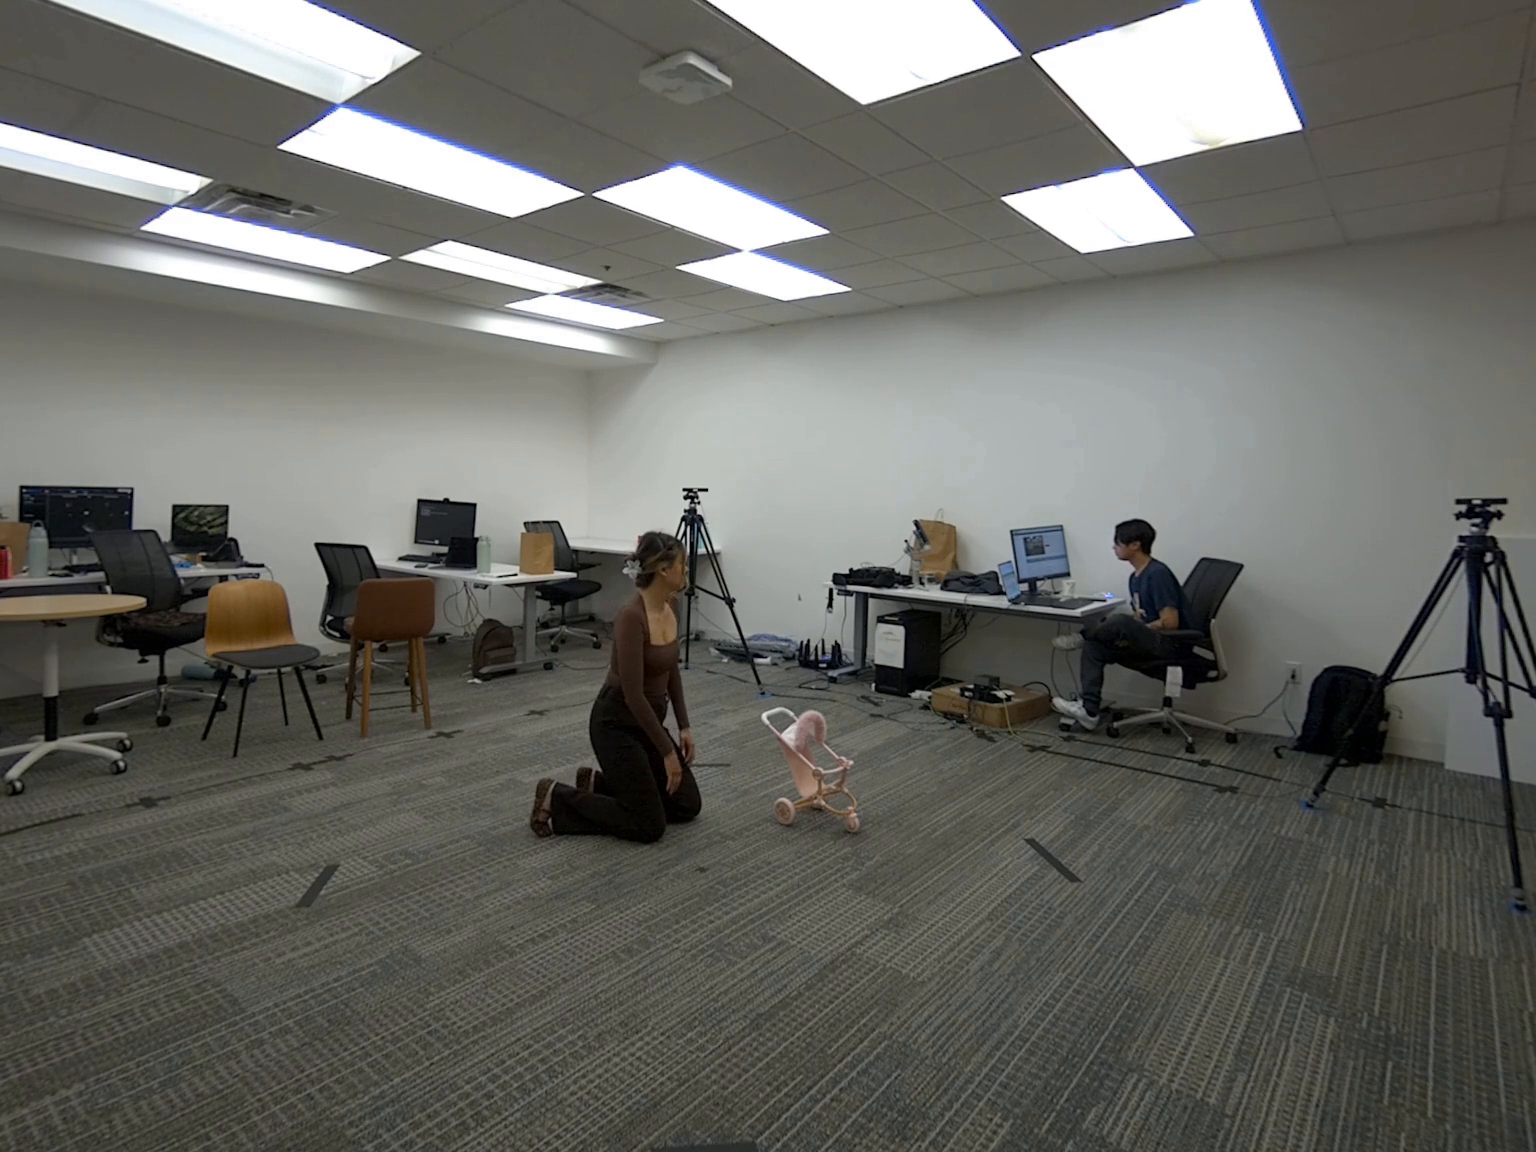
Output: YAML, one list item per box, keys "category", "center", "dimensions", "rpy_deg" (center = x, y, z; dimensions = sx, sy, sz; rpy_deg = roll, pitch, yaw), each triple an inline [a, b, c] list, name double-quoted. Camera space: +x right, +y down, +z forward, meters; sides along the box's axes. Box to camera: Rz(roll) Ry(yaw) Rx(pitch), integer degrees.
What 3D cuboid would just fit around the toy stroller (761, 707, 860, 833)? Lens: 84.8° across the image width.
- category: "toy stroller"
  center: [0.186, 0.811, 3.588]
  dimensions: [0.348, 0.540, 0.273]
  rpy_deg: [-18, -9, 41]
